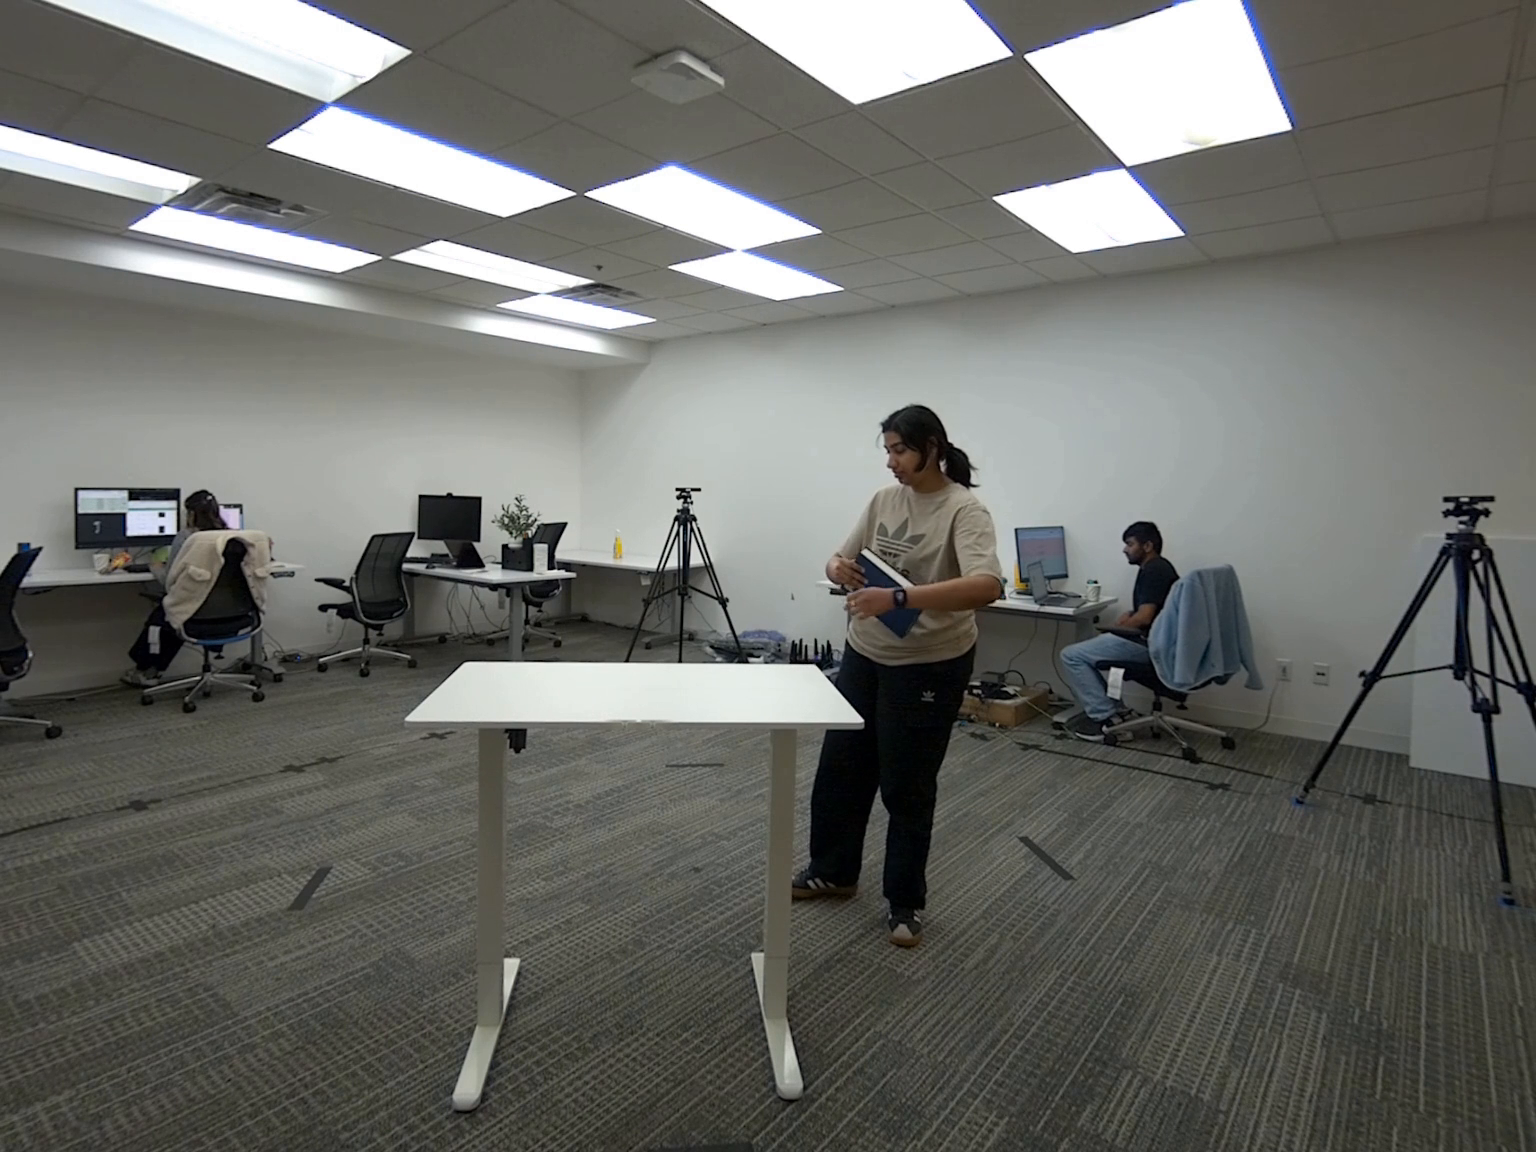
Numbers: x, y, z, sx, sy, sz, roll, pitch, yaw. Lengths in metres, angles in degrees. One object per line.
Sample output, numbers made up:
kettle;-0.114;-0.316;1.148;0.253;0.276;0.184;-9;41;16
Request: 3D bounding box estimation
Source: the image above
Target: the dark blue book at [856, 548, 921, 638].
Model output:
dark blue book;0.343;0.041;2.541;0.044;0.161;0.253;-24;59;-41
